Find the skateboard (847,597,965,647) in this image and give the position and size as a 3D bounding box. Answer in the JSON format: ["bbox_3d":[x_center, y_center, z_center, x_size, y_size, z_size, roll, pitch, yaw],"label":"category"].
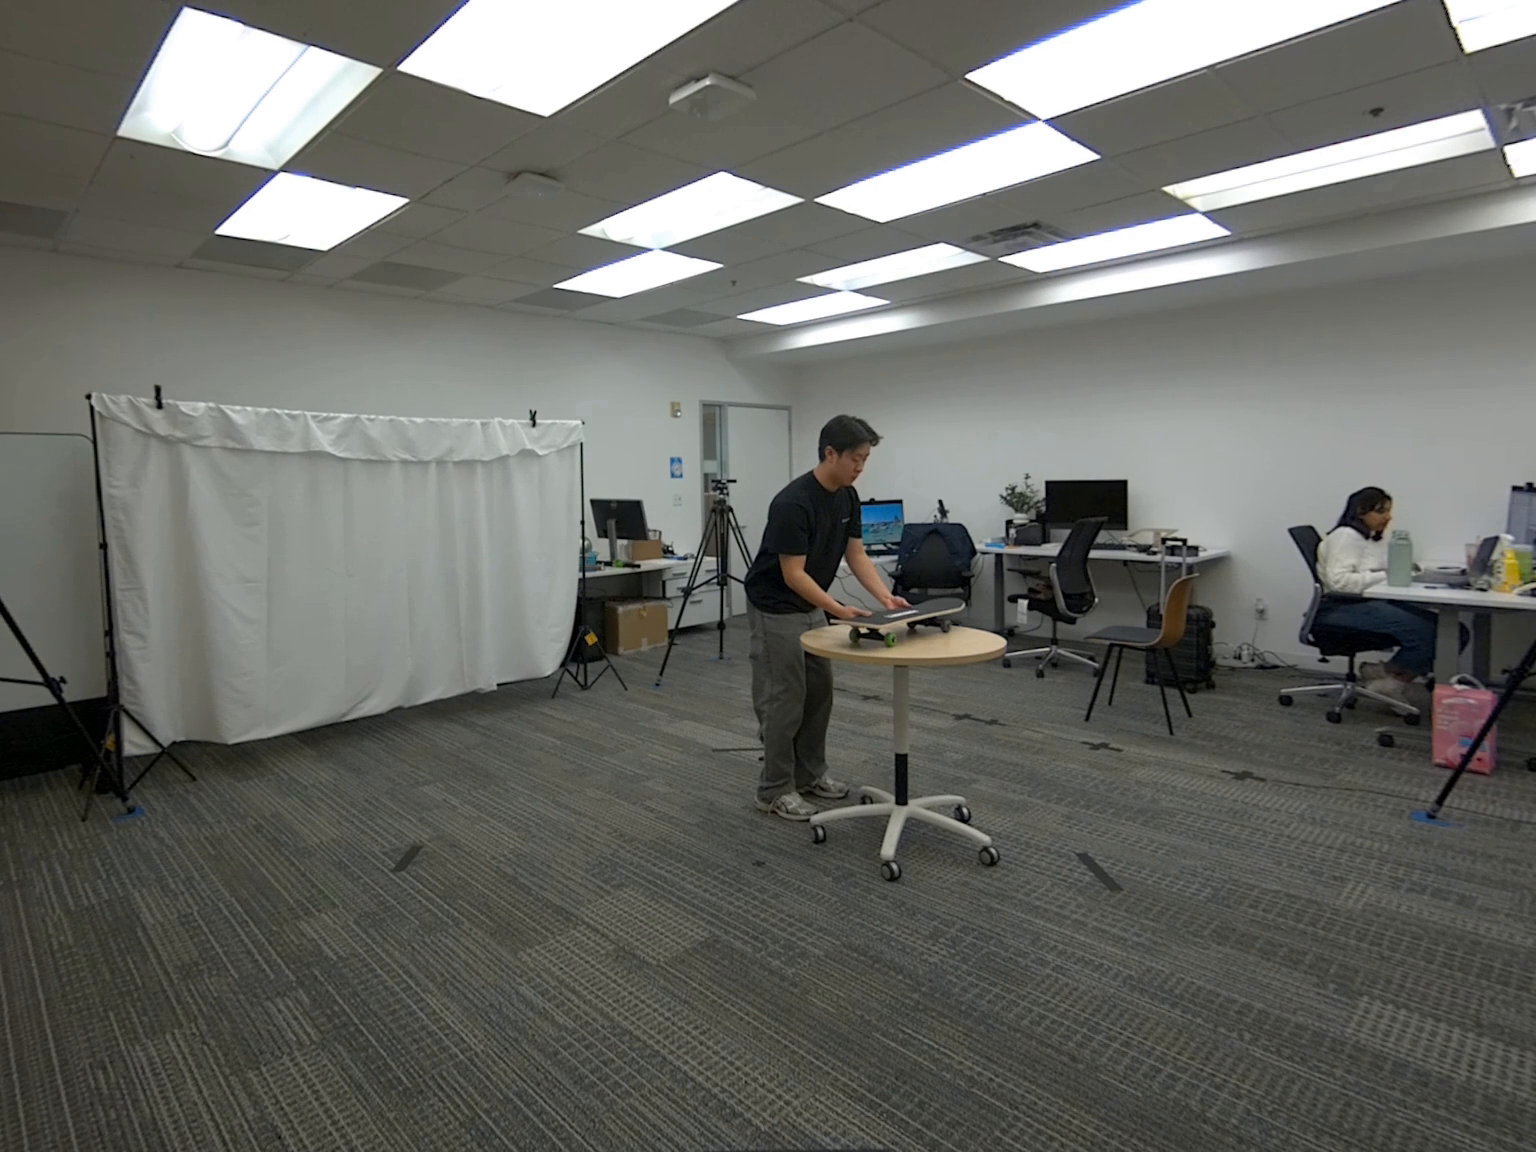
[{"bbox_3d":[0.515,0.184,3.271,0.199,0.110,0.765,5,8,43],"label":"skateboard"}]
